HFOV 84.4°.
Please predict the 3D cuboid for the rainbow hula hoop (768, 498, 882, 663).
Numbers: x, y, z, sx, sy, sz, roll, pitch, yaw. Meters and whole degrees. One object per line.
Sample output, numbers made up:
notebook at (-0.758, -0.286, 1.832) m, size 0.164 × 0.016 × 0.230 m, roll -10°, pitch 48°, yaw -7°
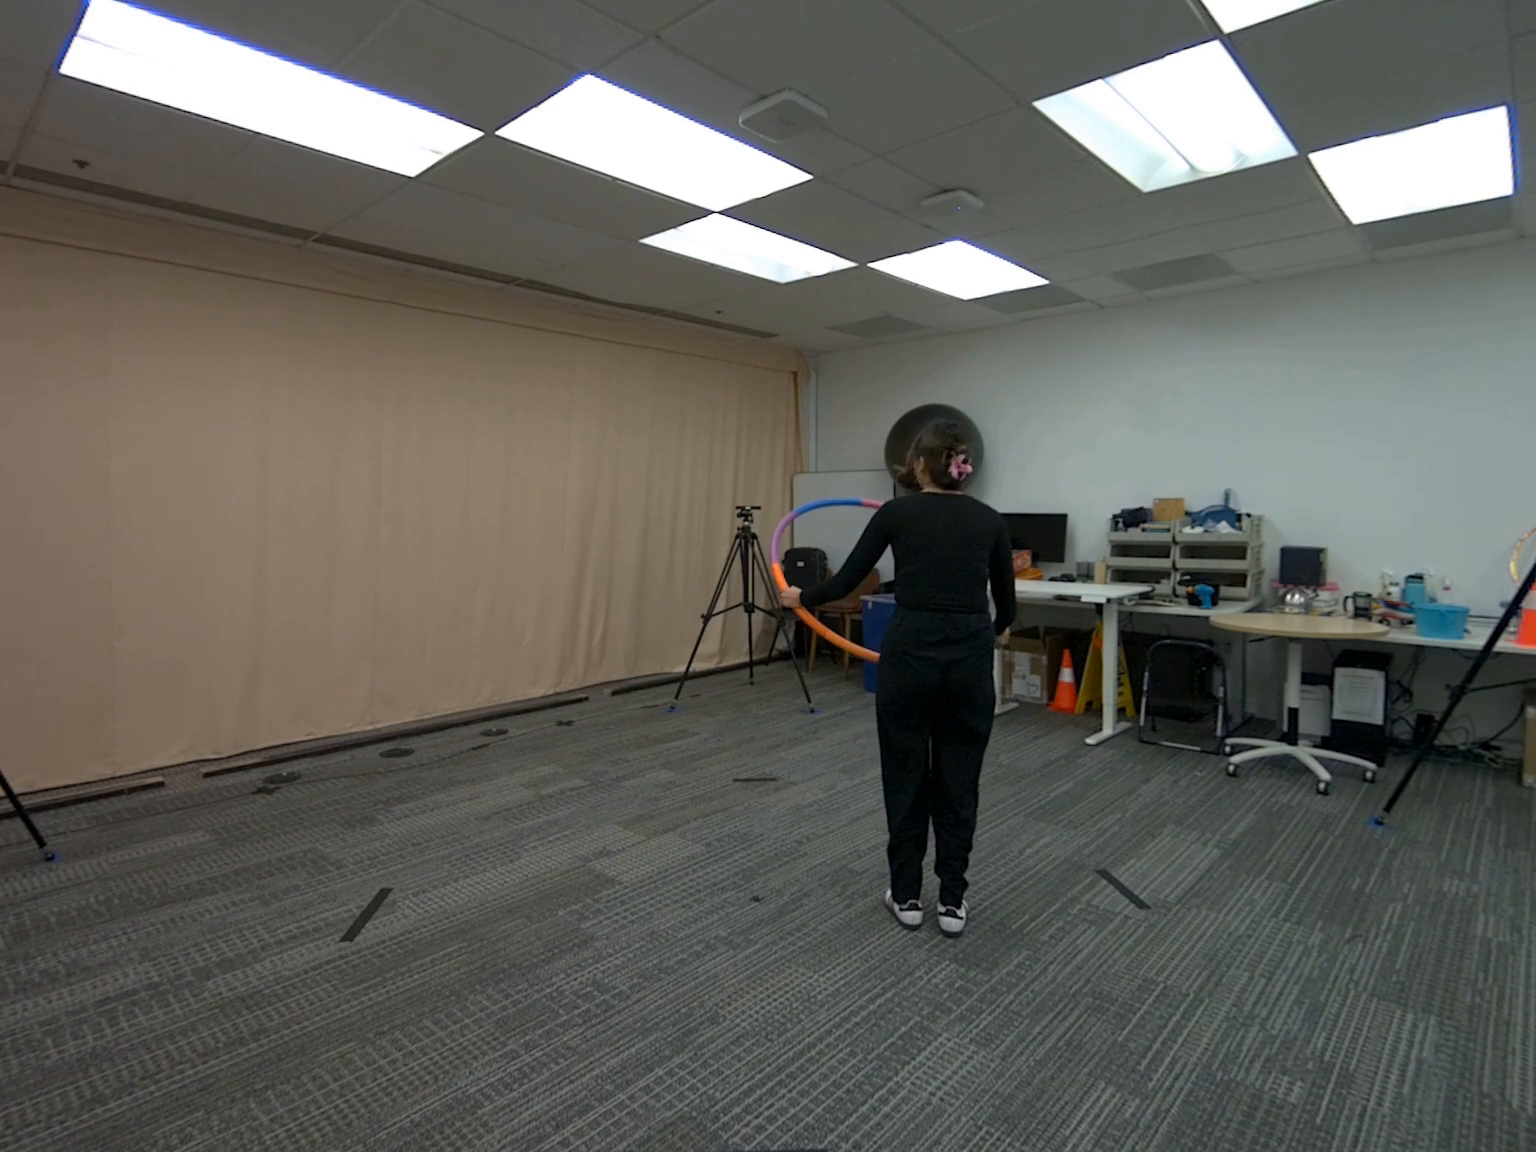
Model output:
rainbow hula hoop at (0.493, 0.006, 3.354) m, size 0.976 × 0.051 × 1.004 m, roll 8°, pitch 40°, yaw -9°
